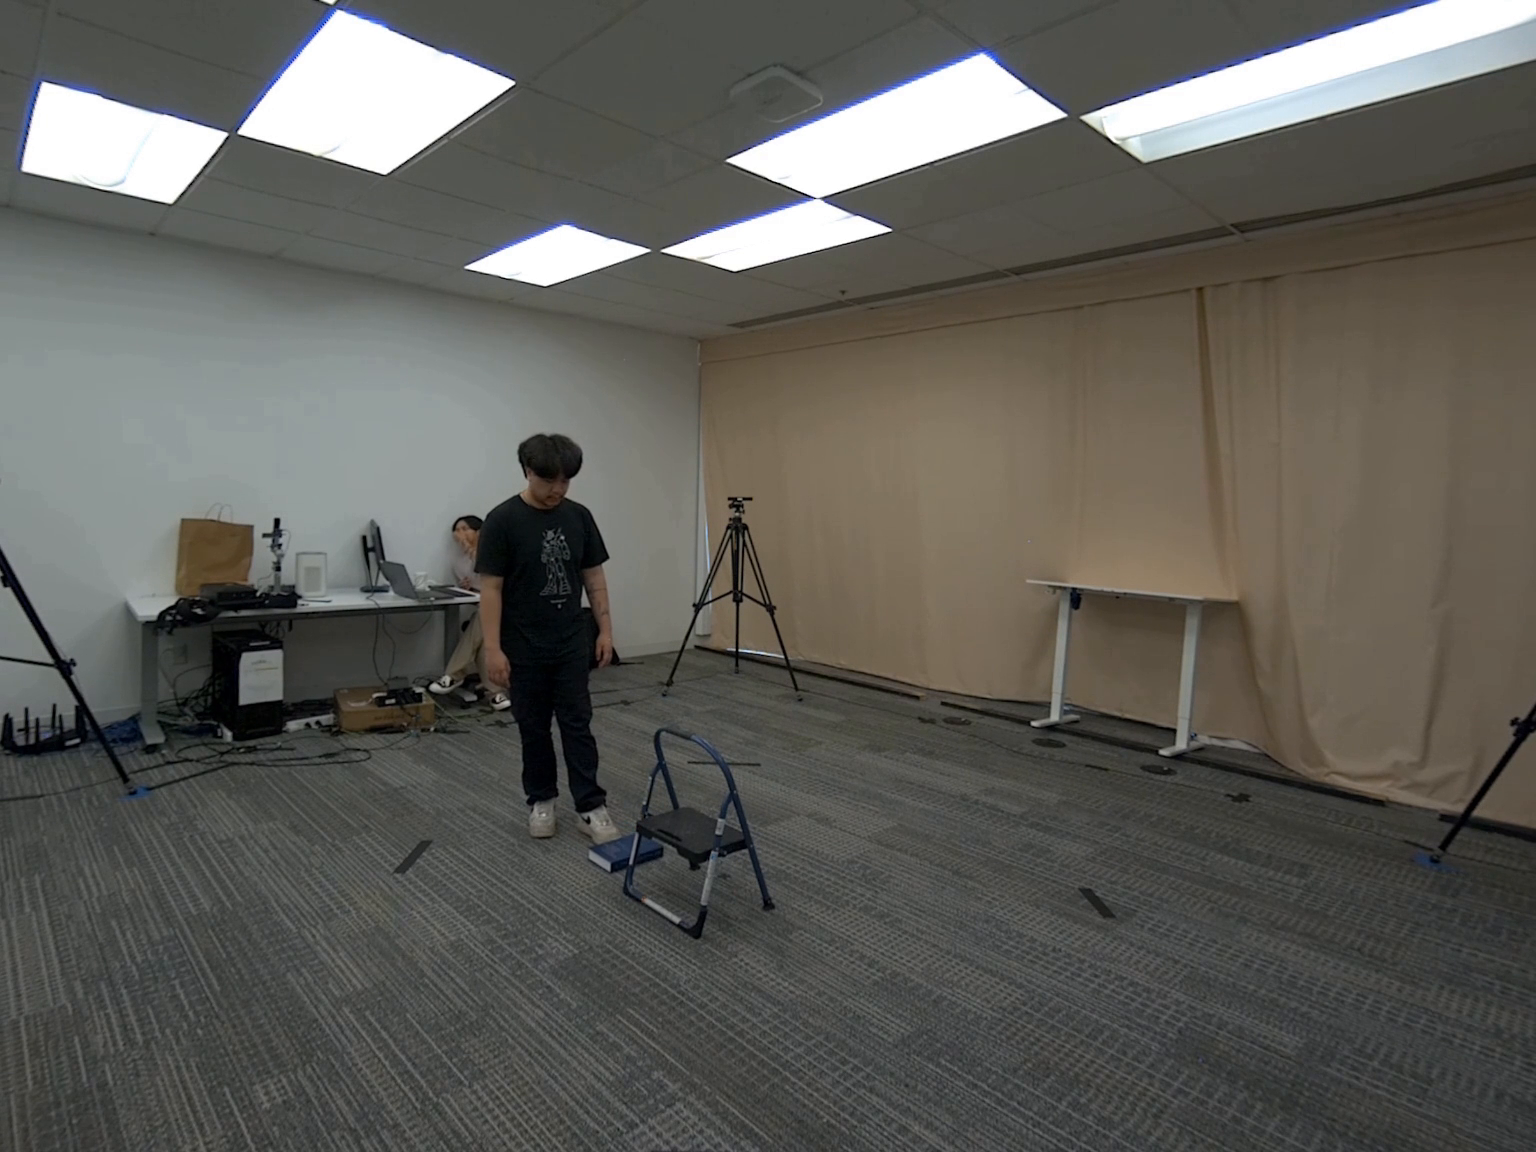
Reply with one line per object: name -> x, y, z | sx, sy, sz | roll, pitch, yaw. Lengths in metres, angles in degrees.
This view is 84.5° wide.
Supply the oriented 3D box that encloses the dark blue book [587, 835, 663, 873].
dark blue book -> -0.558, 1.064, 3.240 | 0.239, 0.045, 0.168 | -3, 7, -43
